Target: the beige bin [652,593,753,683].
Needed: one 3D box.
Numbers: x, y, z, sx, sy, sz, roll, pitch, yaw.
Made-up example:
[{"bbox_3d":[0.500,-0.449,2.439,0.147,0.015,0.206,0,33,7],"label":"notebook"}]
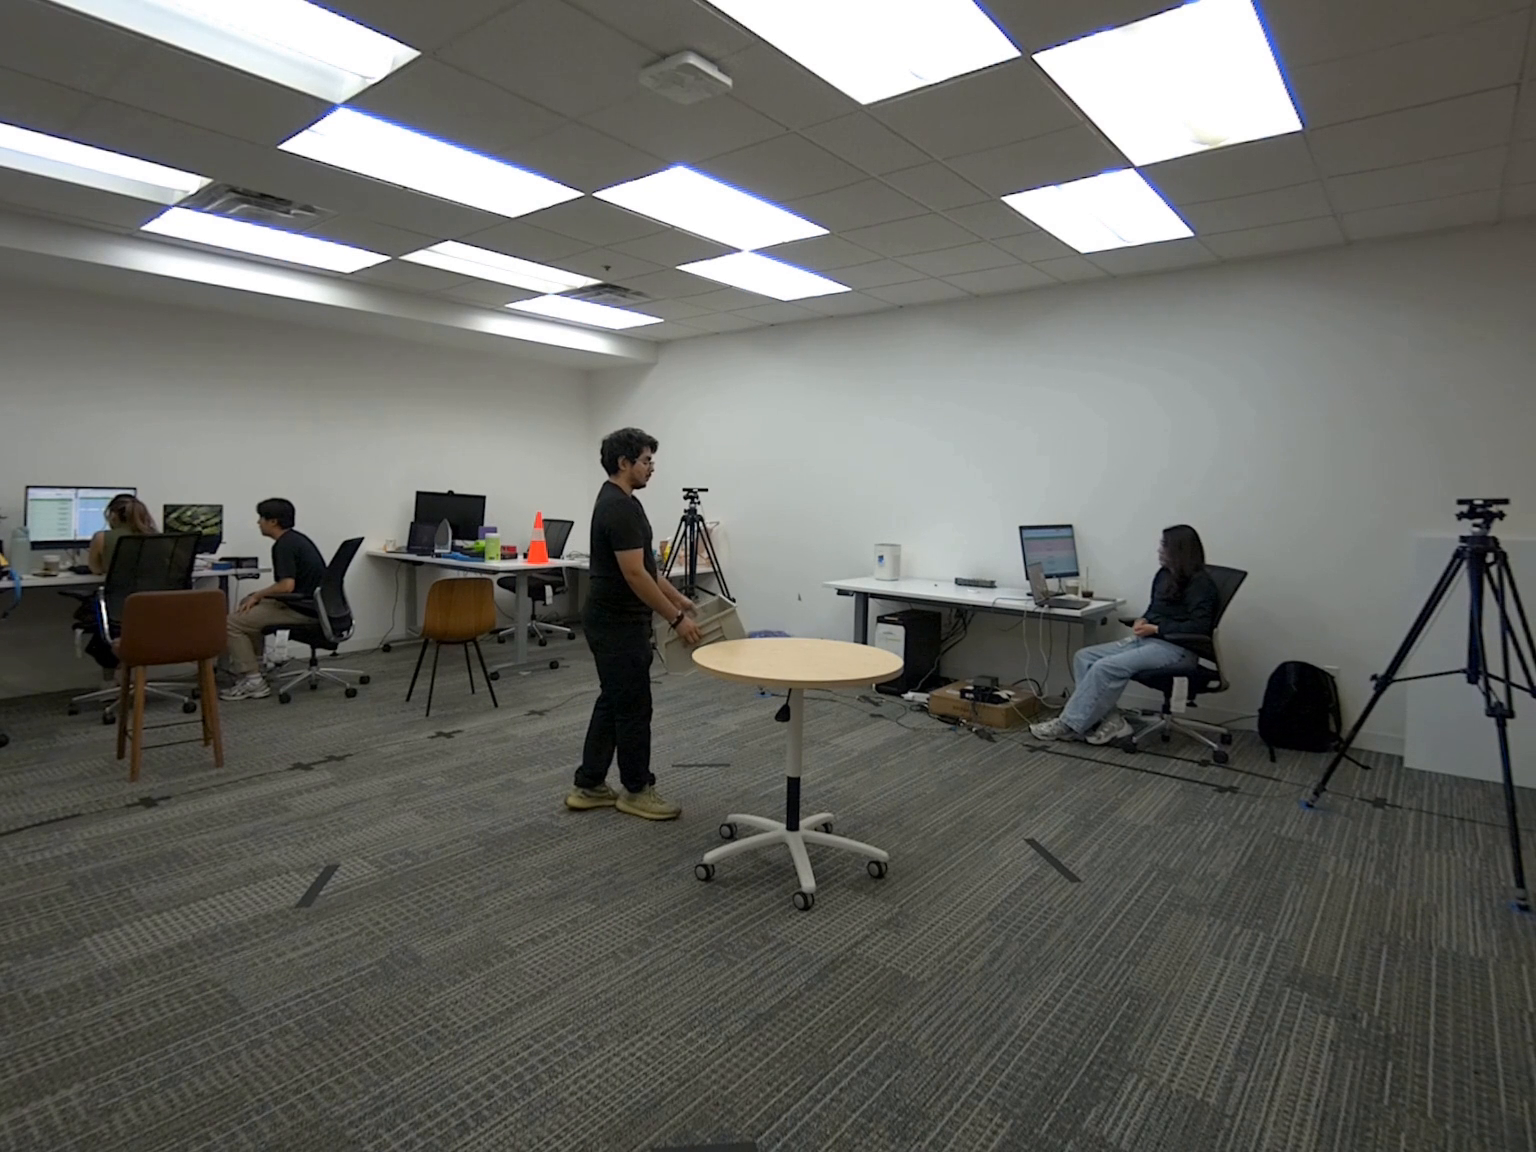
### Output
[{"bbox_3d":[-0.321,0.261,3.728,0.375,0.187,0.428,-26,9,-9],"label":"beige bin"}]
